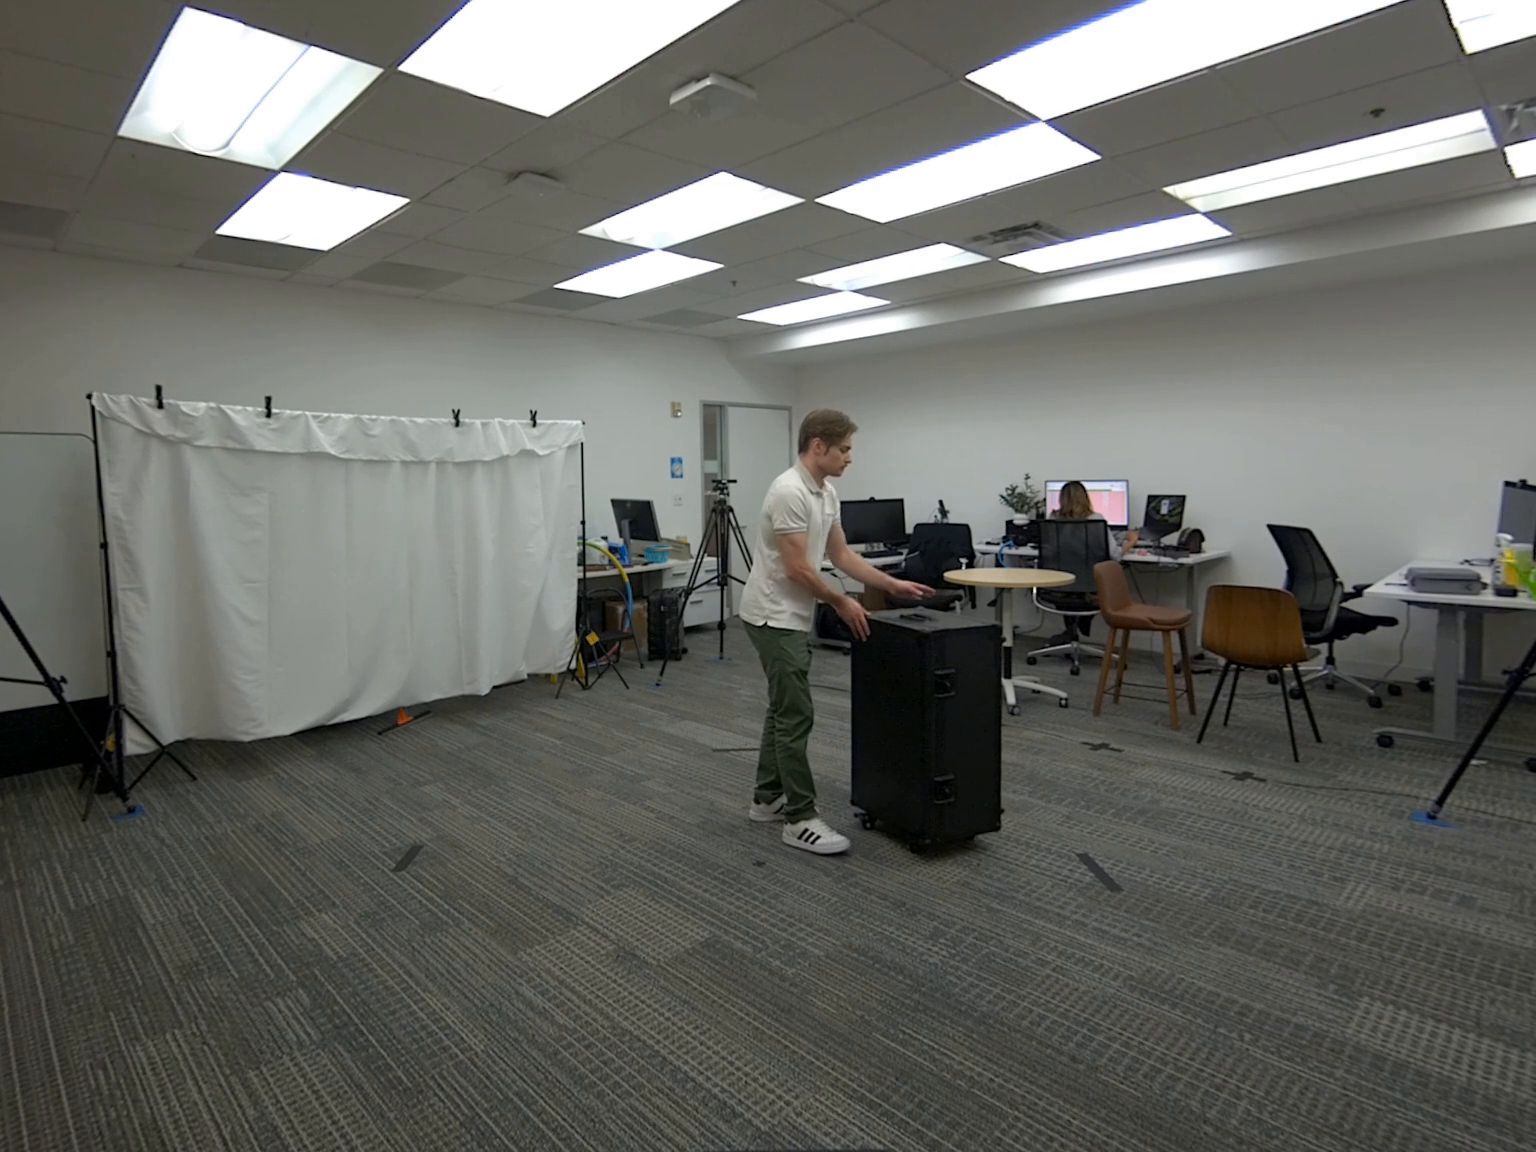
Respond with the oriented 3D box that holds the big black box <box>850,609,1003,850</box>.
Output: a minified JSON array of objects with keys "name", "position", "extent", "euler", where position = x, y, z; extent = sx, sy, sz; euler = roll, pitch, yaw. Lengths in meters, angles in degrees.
[{"name":"big black box","position":[0.602,0.589,3.326],"extent":[0.377,0.866,0.536],"euler":[-2,3,-26]}]
